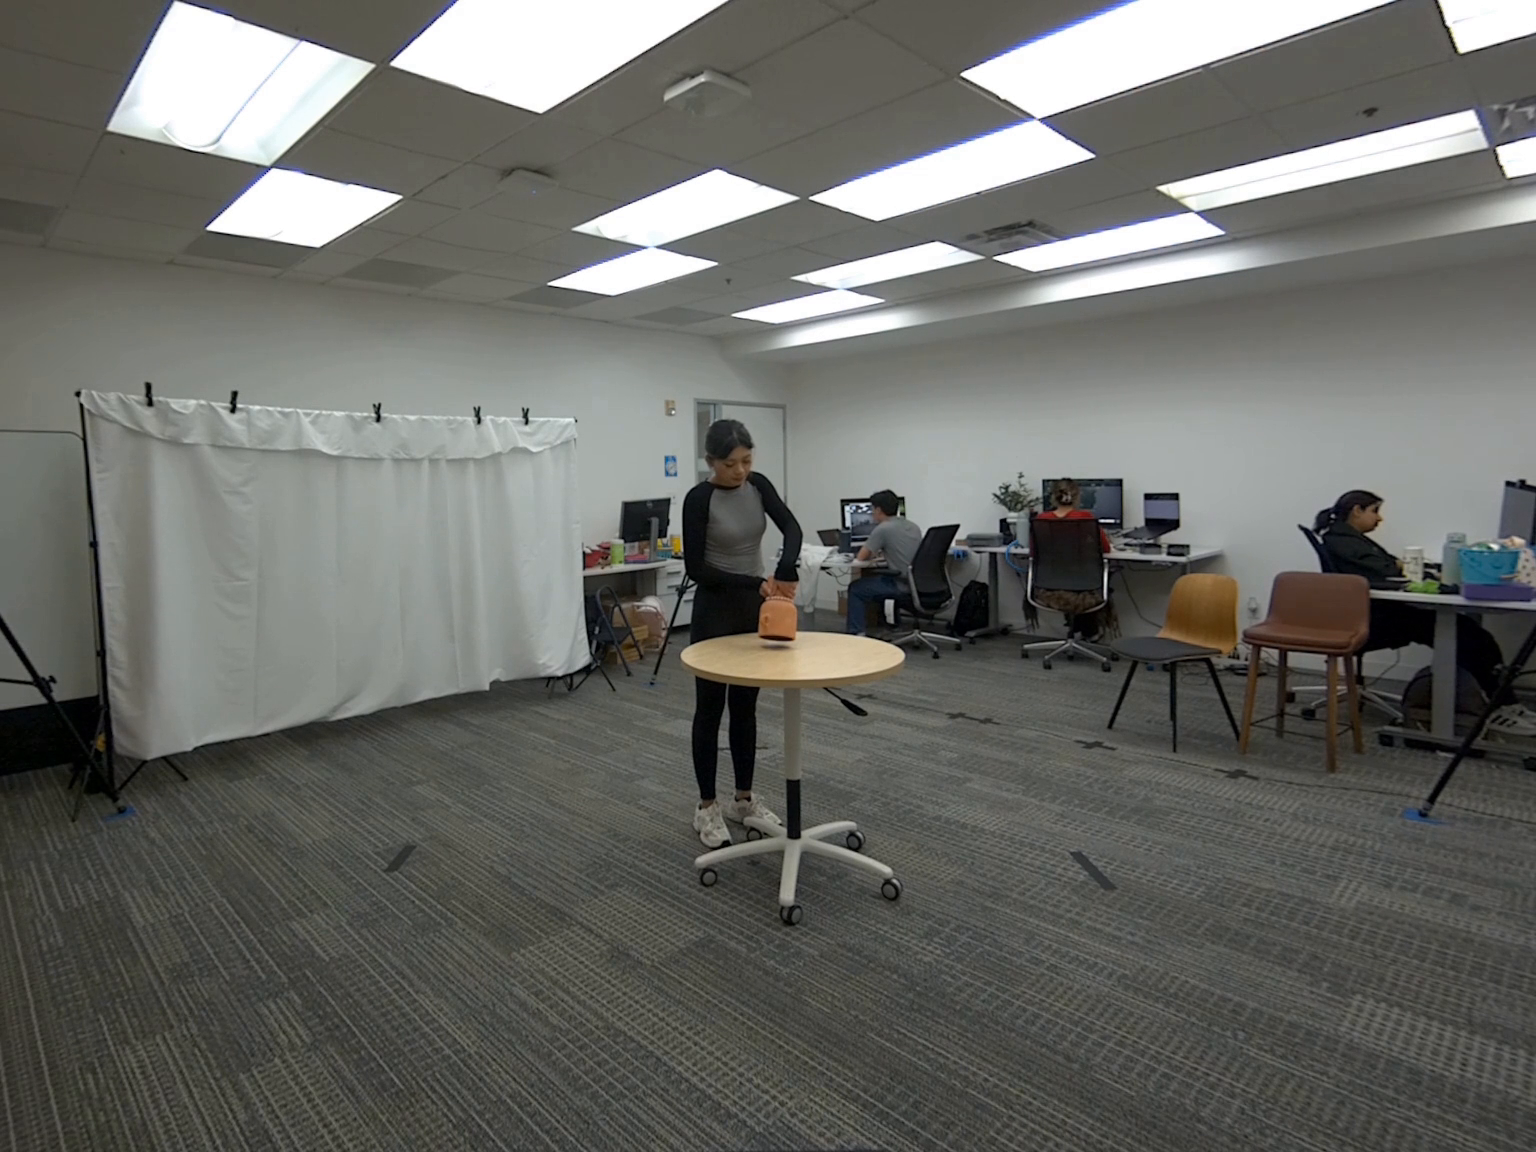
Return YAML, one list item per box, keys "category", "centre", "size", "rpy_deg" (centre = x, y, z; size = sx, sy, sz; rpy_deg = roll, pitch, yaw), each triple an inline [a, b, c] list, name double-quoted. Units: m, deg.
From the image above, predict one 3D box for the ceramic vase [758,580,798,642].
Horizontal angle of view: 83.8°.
- category: "ceramic vase"
  centre: [0.040, 0.116, 3.063]
  size: [0.134, 0.222, 0.157]
  rpy_deg: [4, -13, -2]
